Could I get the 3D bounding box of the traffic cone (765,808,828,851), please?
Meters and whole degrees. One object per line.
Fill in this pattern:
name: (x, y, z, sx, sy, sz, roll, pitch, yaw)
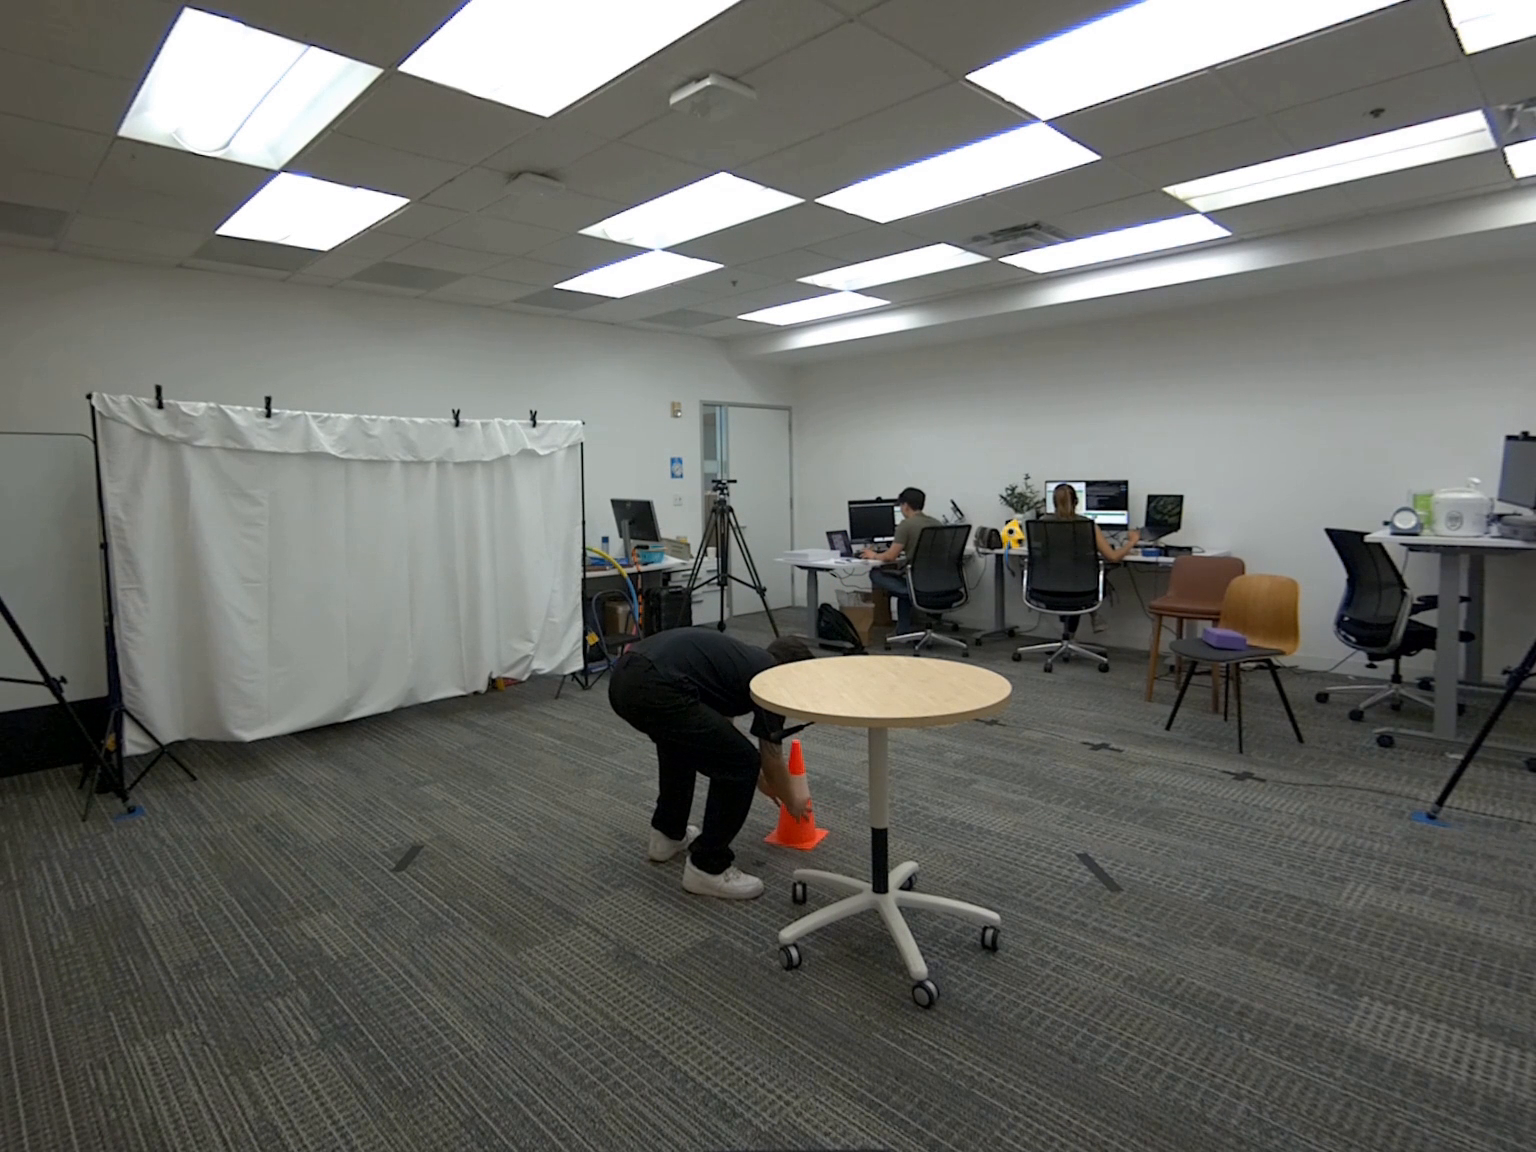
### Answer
traffic cone: (0.104, 0.839, 3.324, 0.208, 0.382, 0.201, 1, 6, 26)
